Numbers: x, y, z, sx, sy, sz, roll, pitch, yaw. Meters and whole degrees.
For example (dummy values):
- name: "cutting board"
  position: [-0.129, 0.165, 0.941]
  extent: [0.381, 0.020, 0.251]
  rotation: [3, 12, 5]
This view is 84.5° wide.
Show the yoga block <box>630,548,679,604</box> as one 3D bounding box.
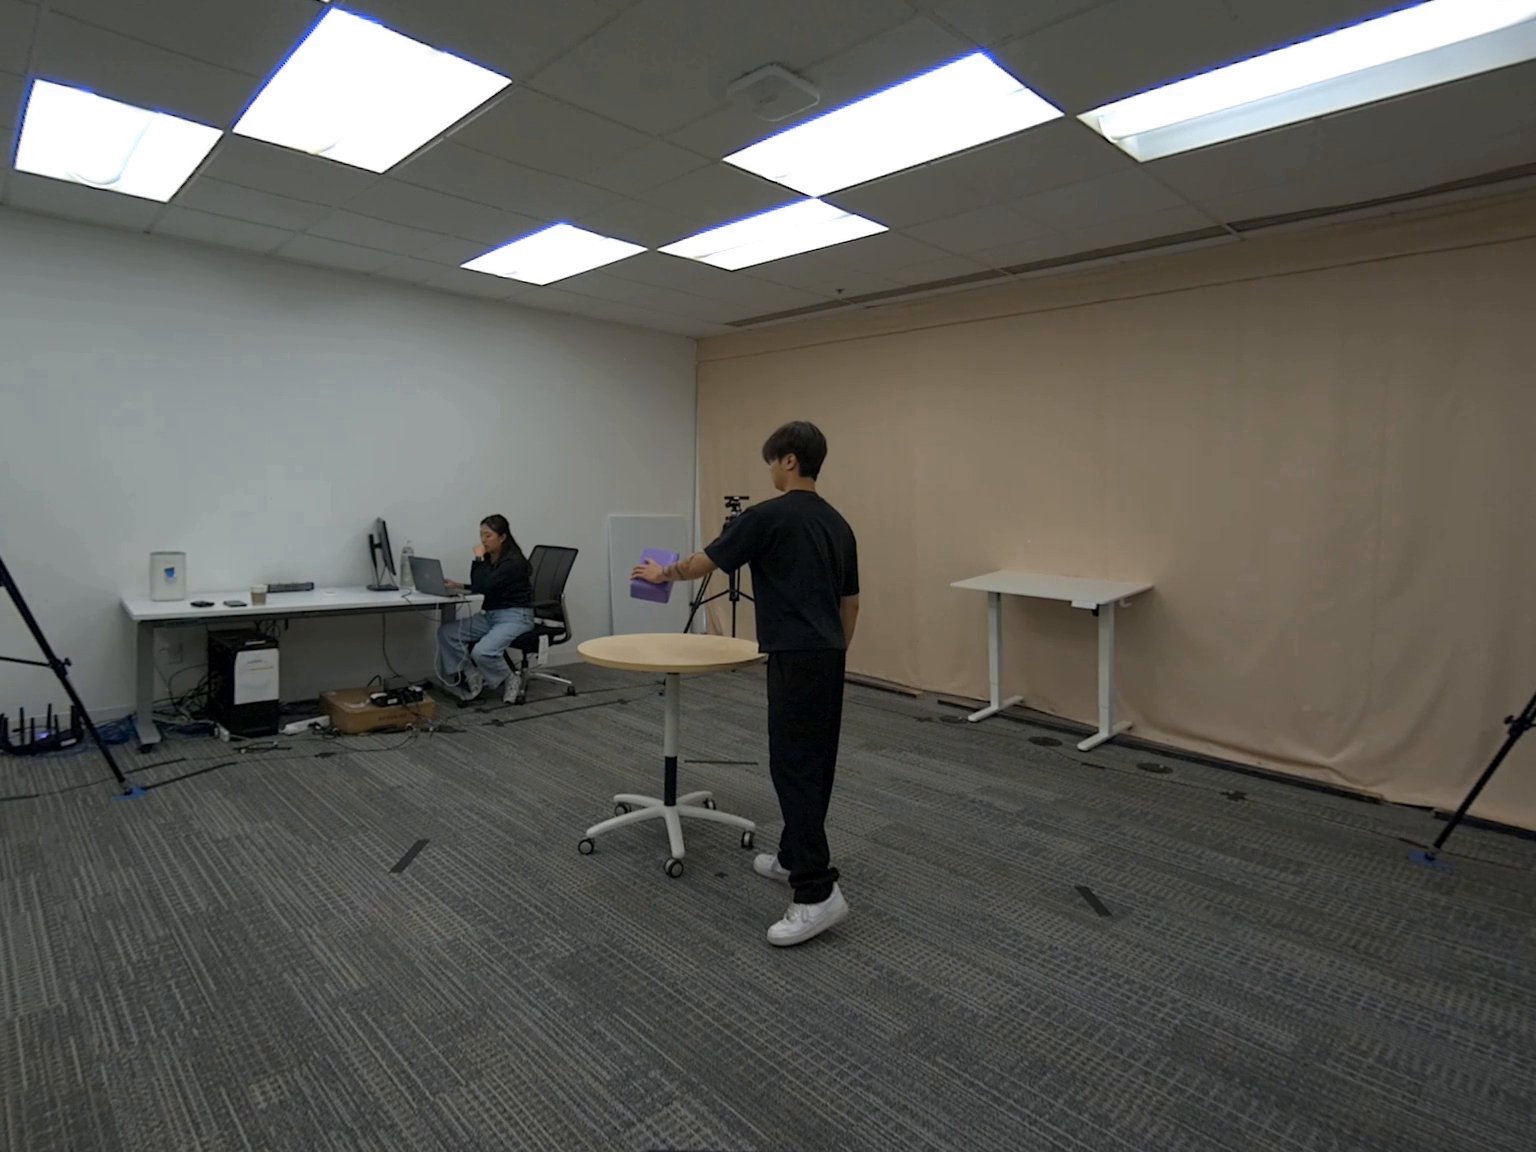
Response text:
- name: "yoga block"
  position: [-0.438, -0.001, 3.261]
  extent: [0.149, 0.075, 0.233]
  rotation: [8, 47, -1]
